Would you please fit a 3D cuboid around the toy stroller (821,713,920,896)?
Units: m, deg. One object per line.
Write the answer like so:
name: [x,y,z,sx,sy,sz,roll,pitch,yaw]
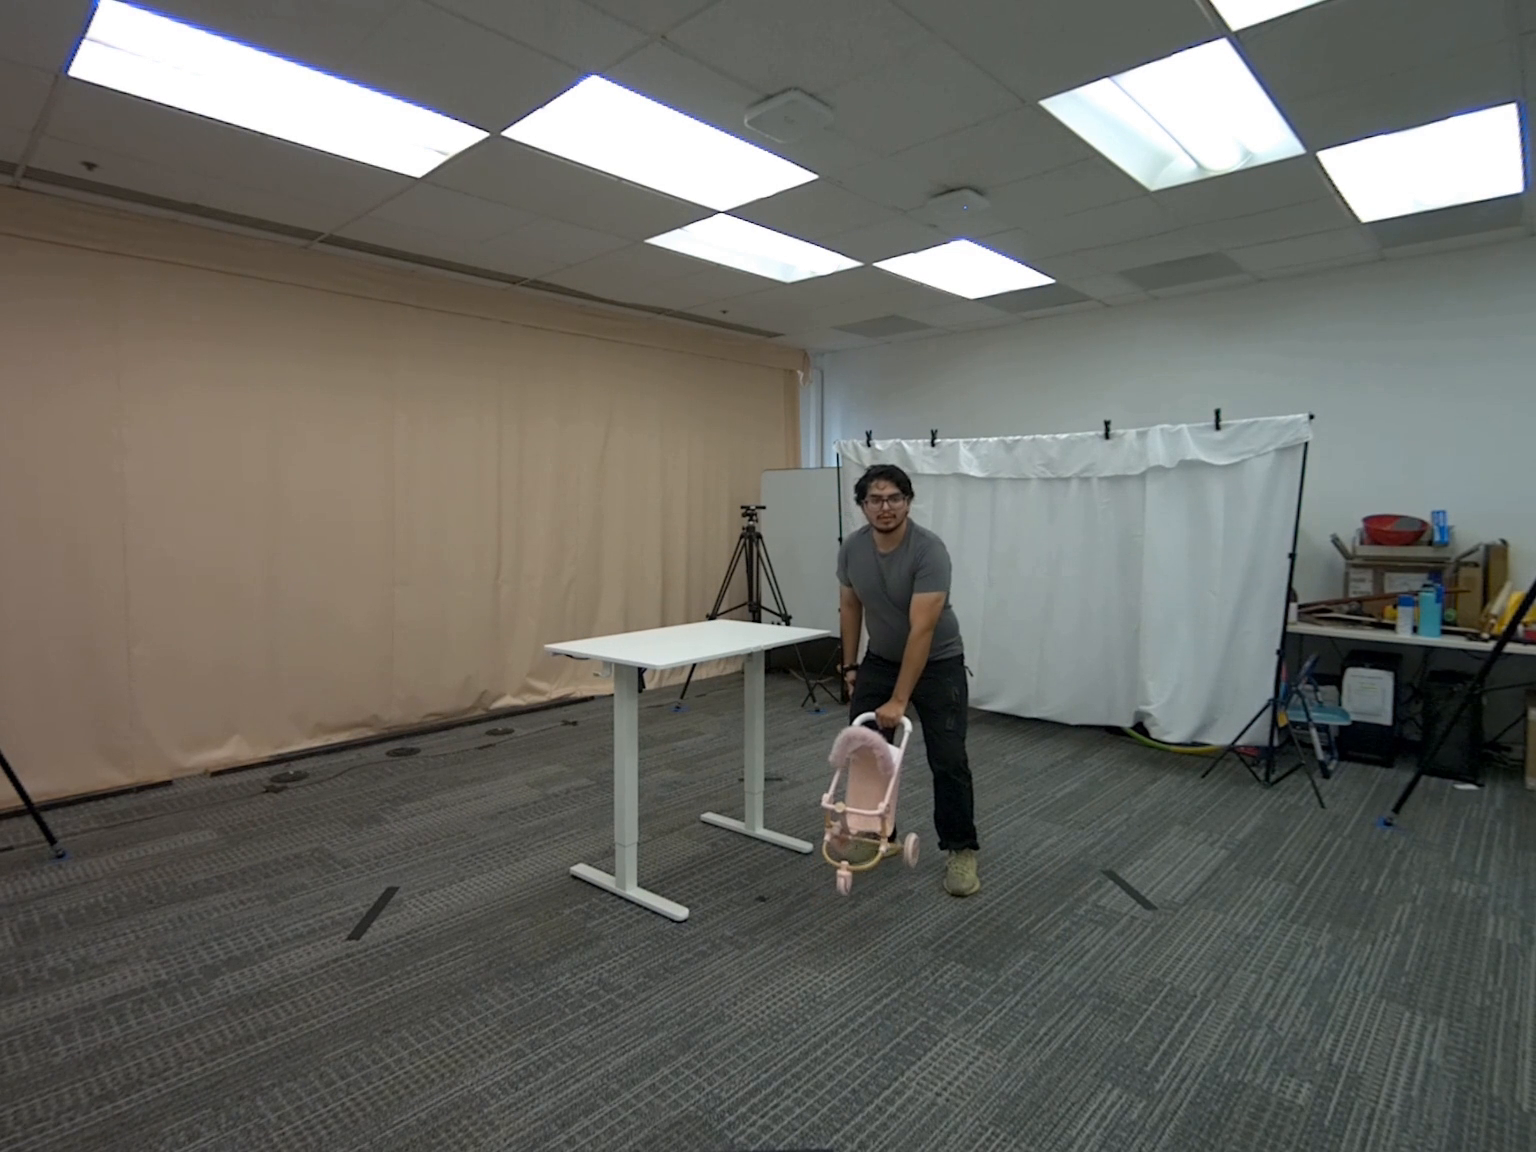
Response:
toy stroller: [0.313,0.722,2.711,0.290,0.537,0.330,-1,-7,35]
